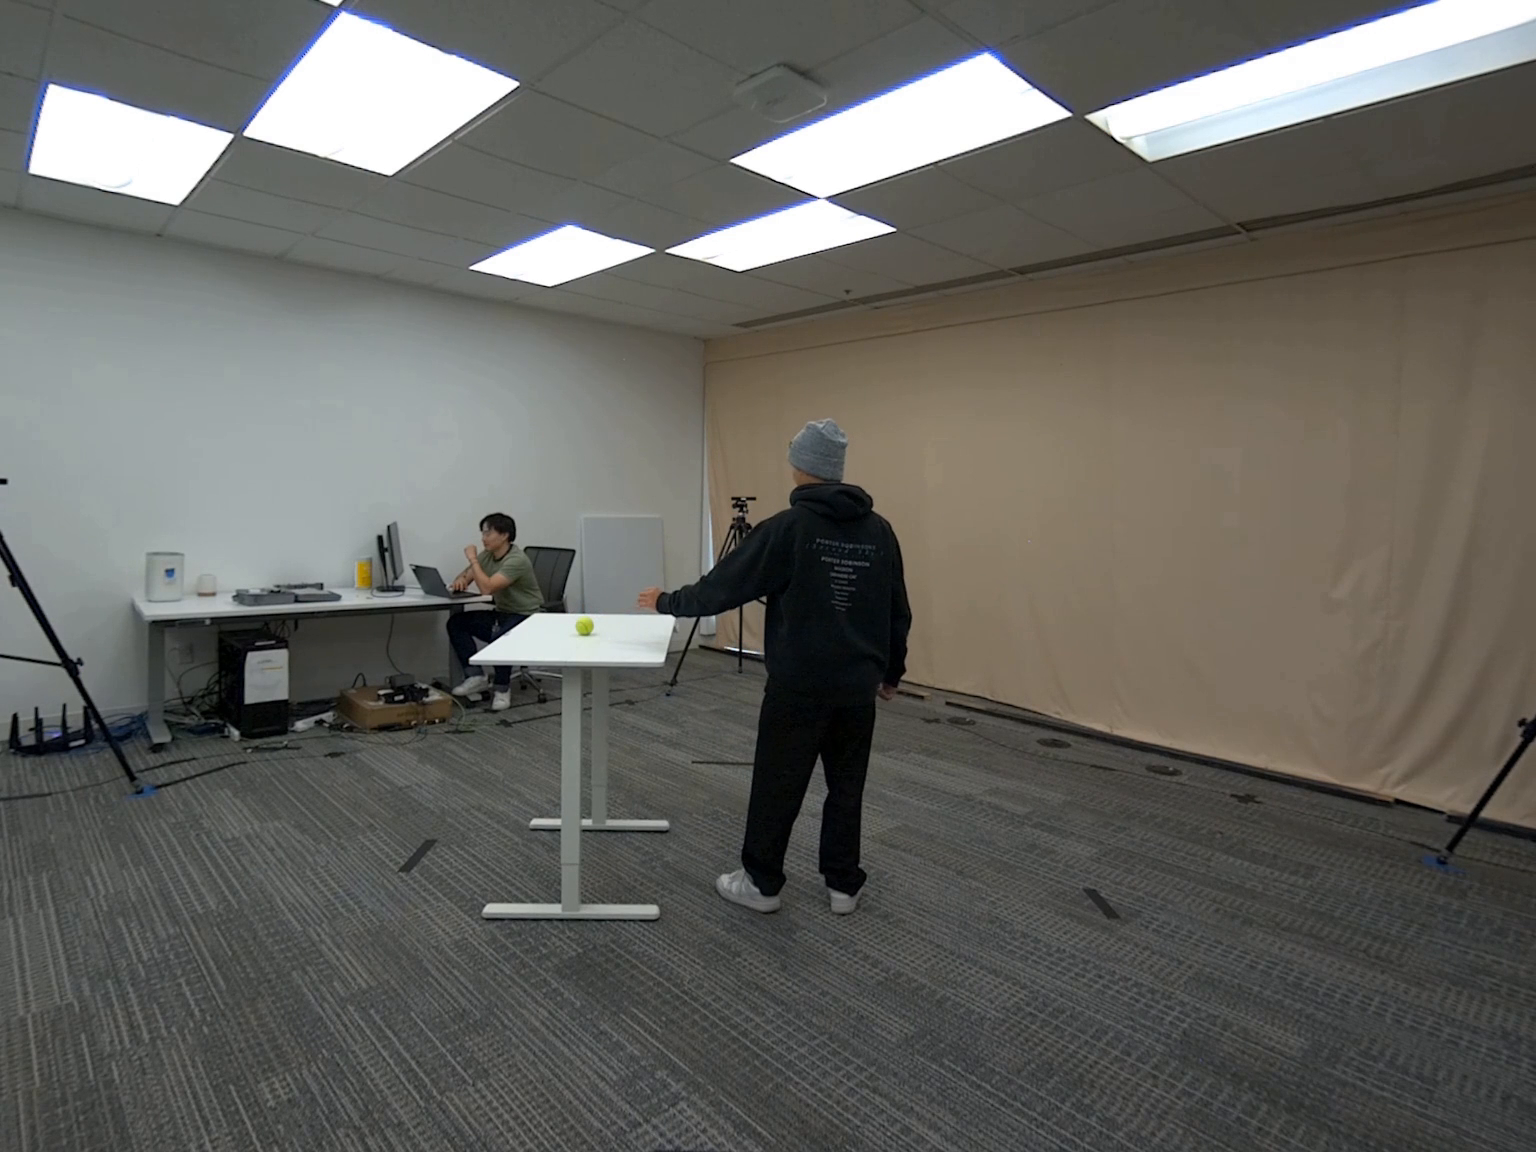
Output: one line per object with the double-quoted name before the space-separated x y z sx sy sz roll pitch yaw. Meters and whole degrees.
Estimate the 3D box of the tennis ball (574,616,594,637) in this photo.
"tennis ball" -0.667 0.184 3.071 0.066 0.066 0.067 1 4 -1
